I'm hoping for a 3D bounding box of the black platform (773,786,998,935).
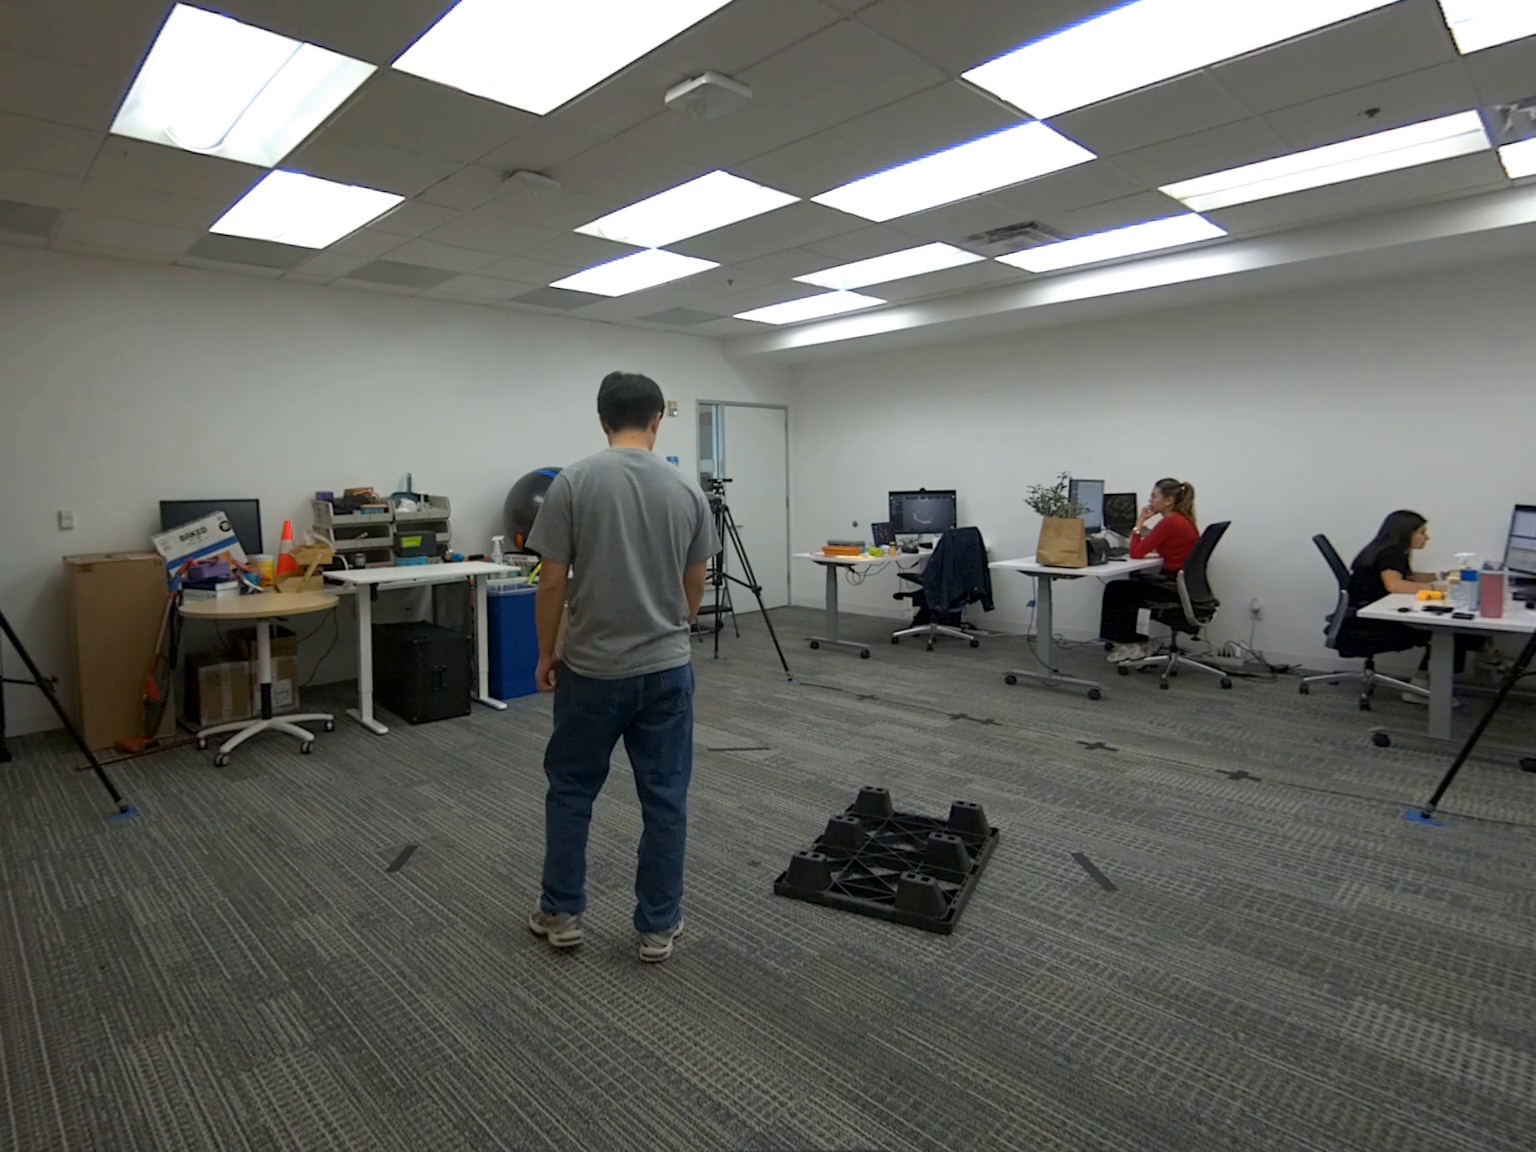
[{"bbox_3d":[0.457,0.973,3.070,0.620,0.142,0.790,2,7,26],"label":"black platform"}]
